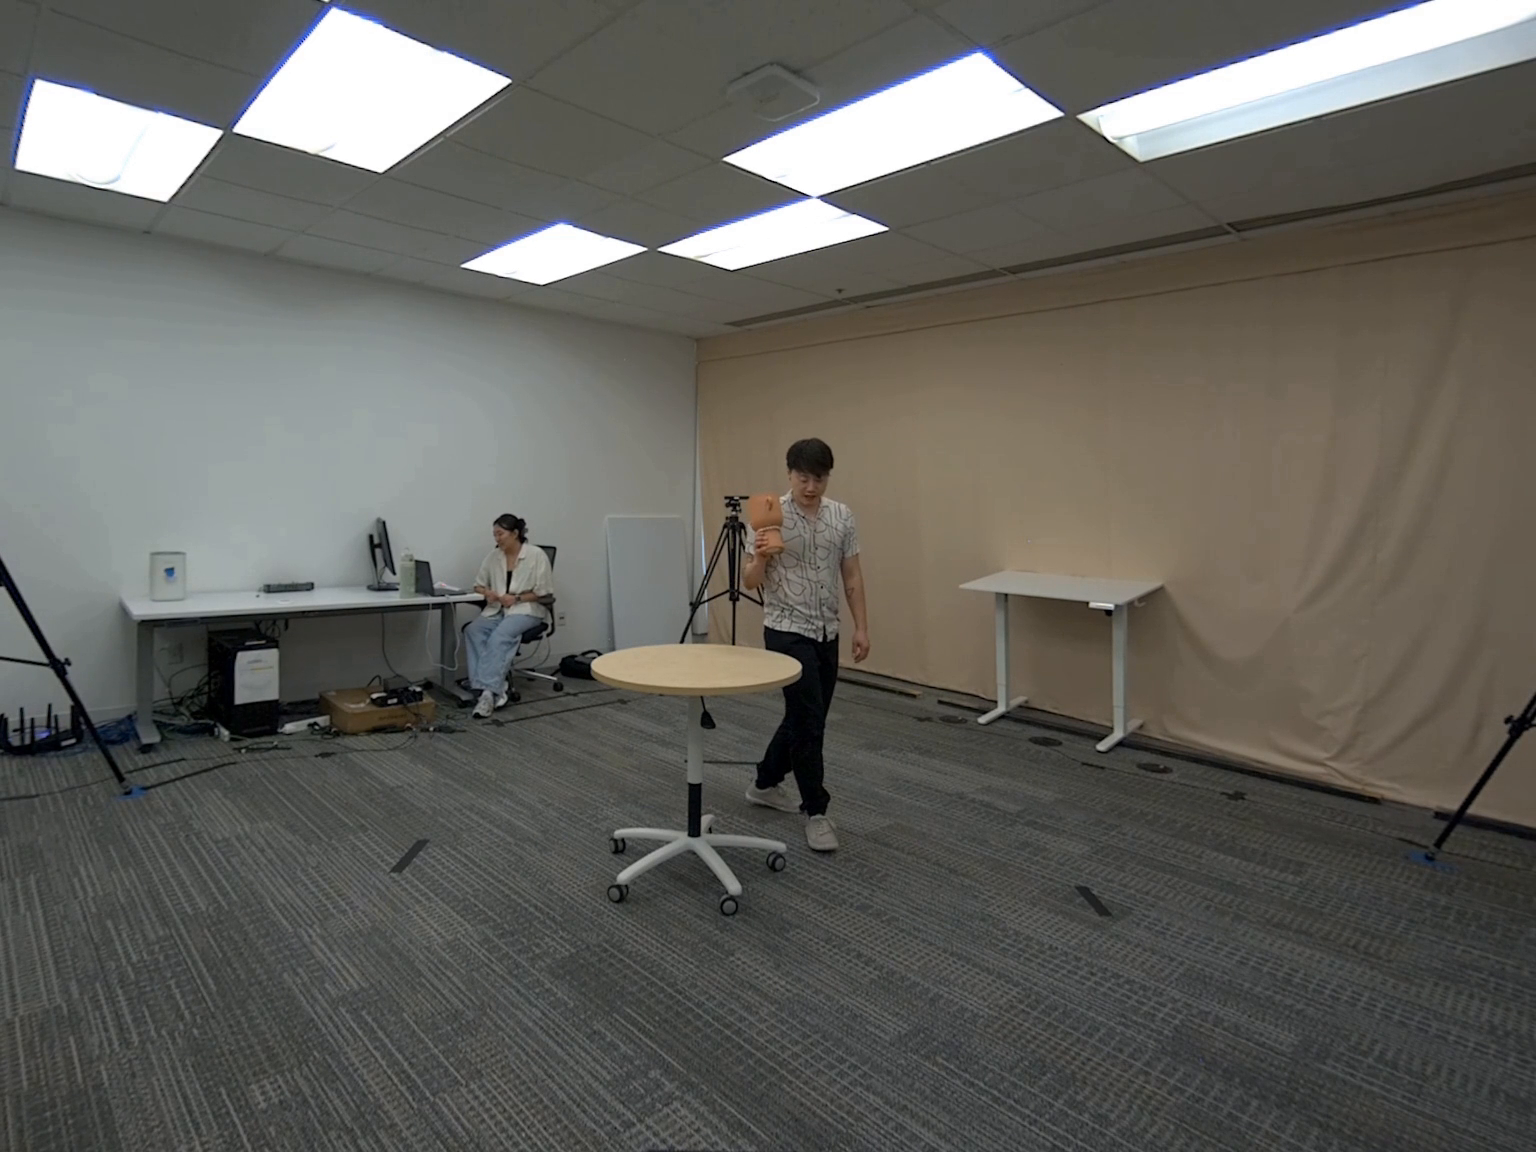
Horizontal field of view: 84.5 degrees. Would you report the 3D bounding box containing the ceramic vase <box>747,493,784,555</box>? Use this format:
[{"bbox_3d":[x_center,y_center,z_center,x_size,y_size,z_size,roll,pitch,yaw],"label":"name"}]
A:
[{"bbox_3d":[-0.009,-0.206,3.299,0.136,0.223,0.155,-16,-18,23],"label":"ceramic vase"}]
